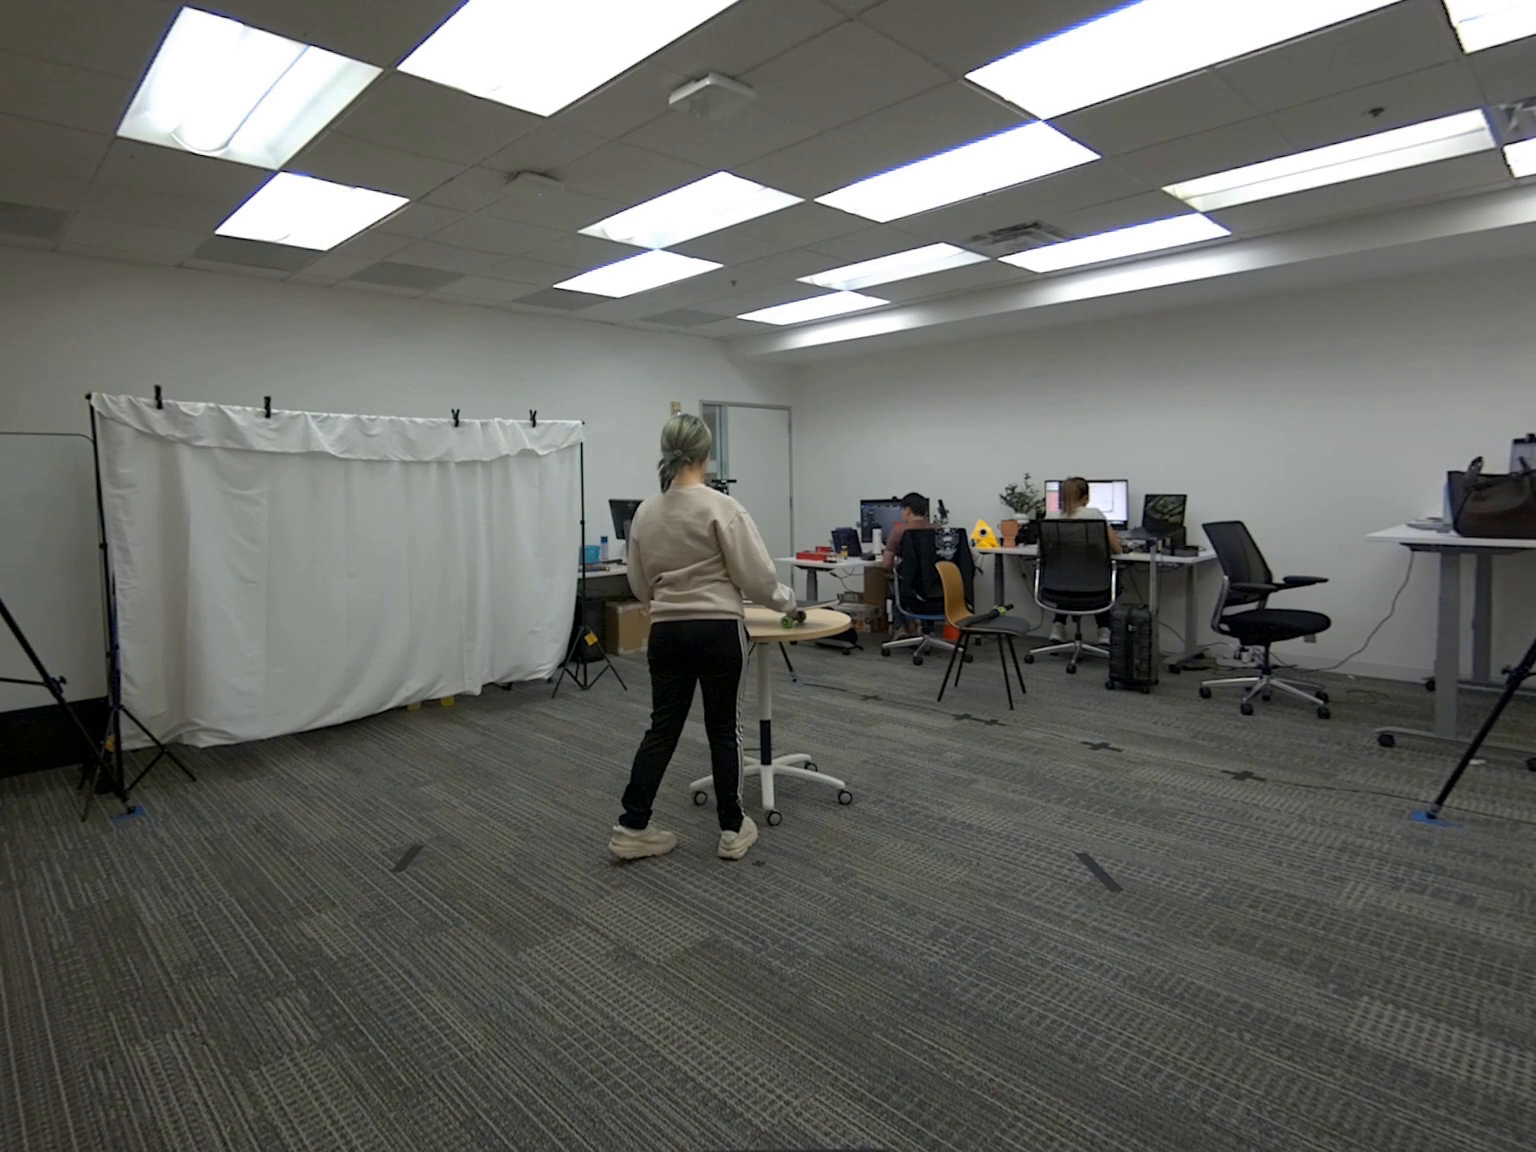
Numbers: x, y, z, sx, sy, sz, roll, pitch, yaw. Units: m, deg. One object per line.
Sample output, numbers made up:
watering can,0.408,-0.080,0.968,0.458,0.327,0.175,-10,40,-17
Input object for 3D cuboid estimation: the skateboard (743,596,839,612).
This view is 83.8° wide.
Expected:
skateboard,-0.063,0.152,3.677,0.804,0.110,0.190,2,8,26
